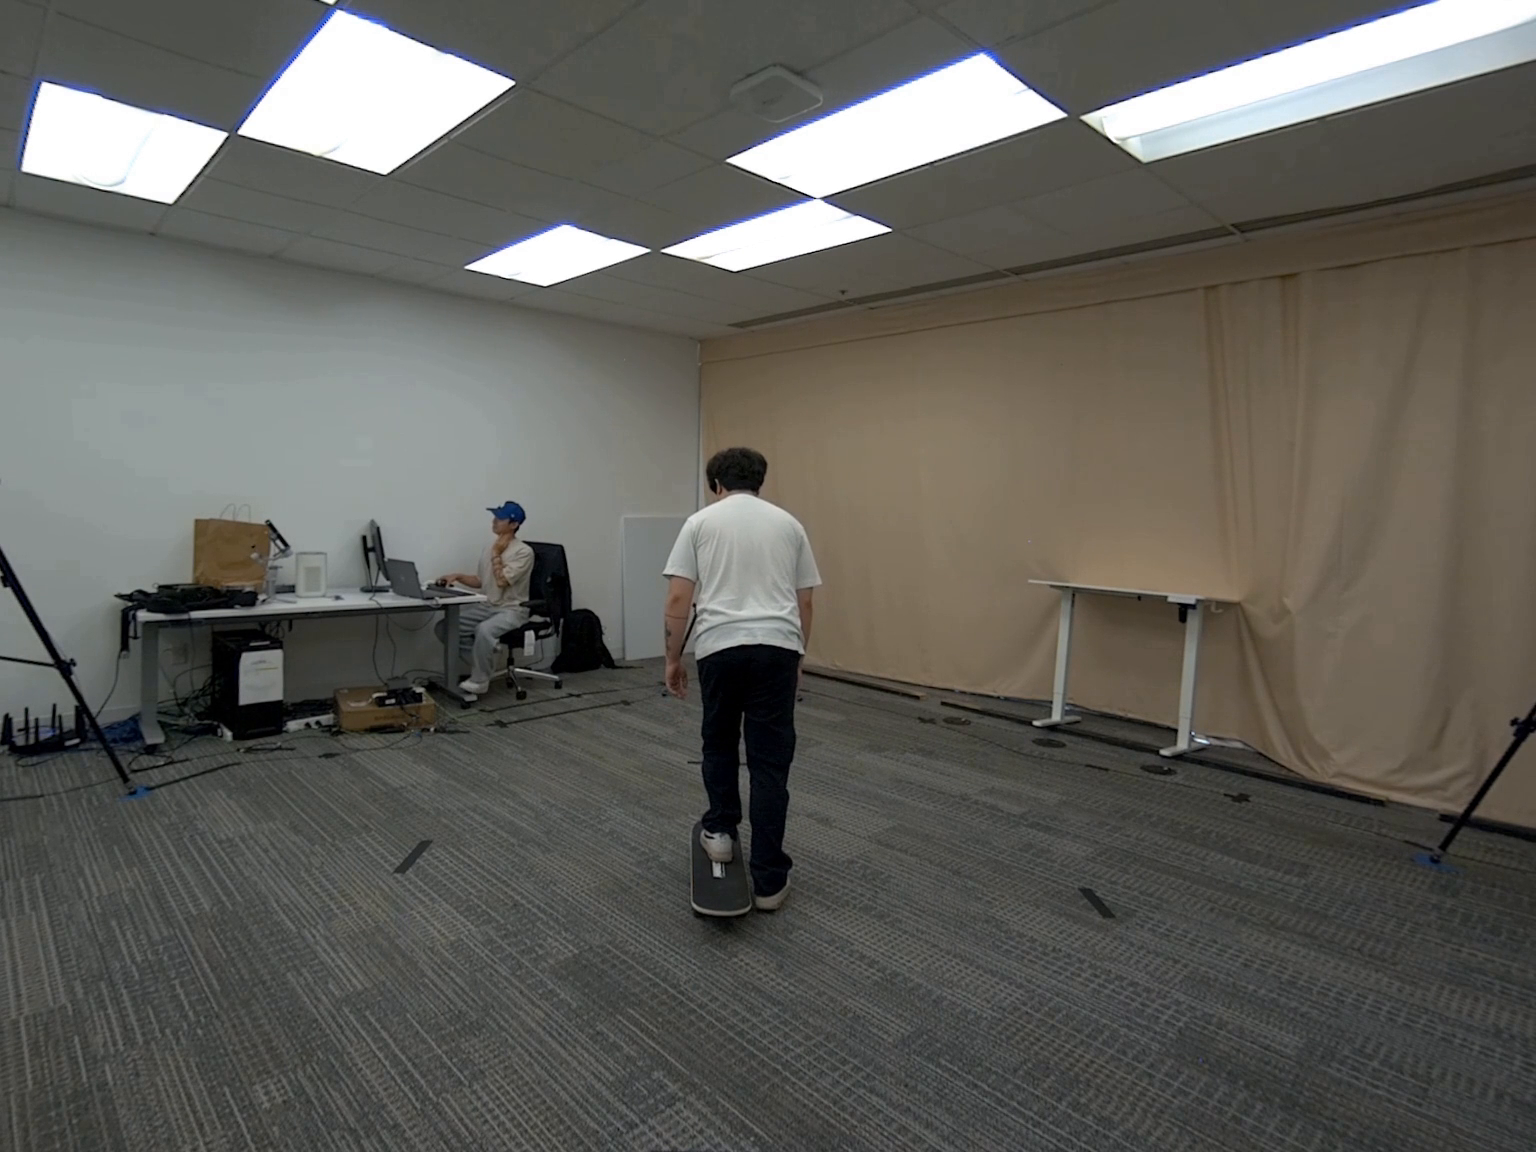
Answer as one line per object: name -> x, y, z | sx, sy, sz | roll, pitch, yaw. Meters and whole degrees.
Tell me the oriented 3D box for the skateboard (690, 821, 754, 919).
skateboard -> -0.182, 1.056, 3.005 | 0.193, 0.110, 0.790 | 1, 5, -5
